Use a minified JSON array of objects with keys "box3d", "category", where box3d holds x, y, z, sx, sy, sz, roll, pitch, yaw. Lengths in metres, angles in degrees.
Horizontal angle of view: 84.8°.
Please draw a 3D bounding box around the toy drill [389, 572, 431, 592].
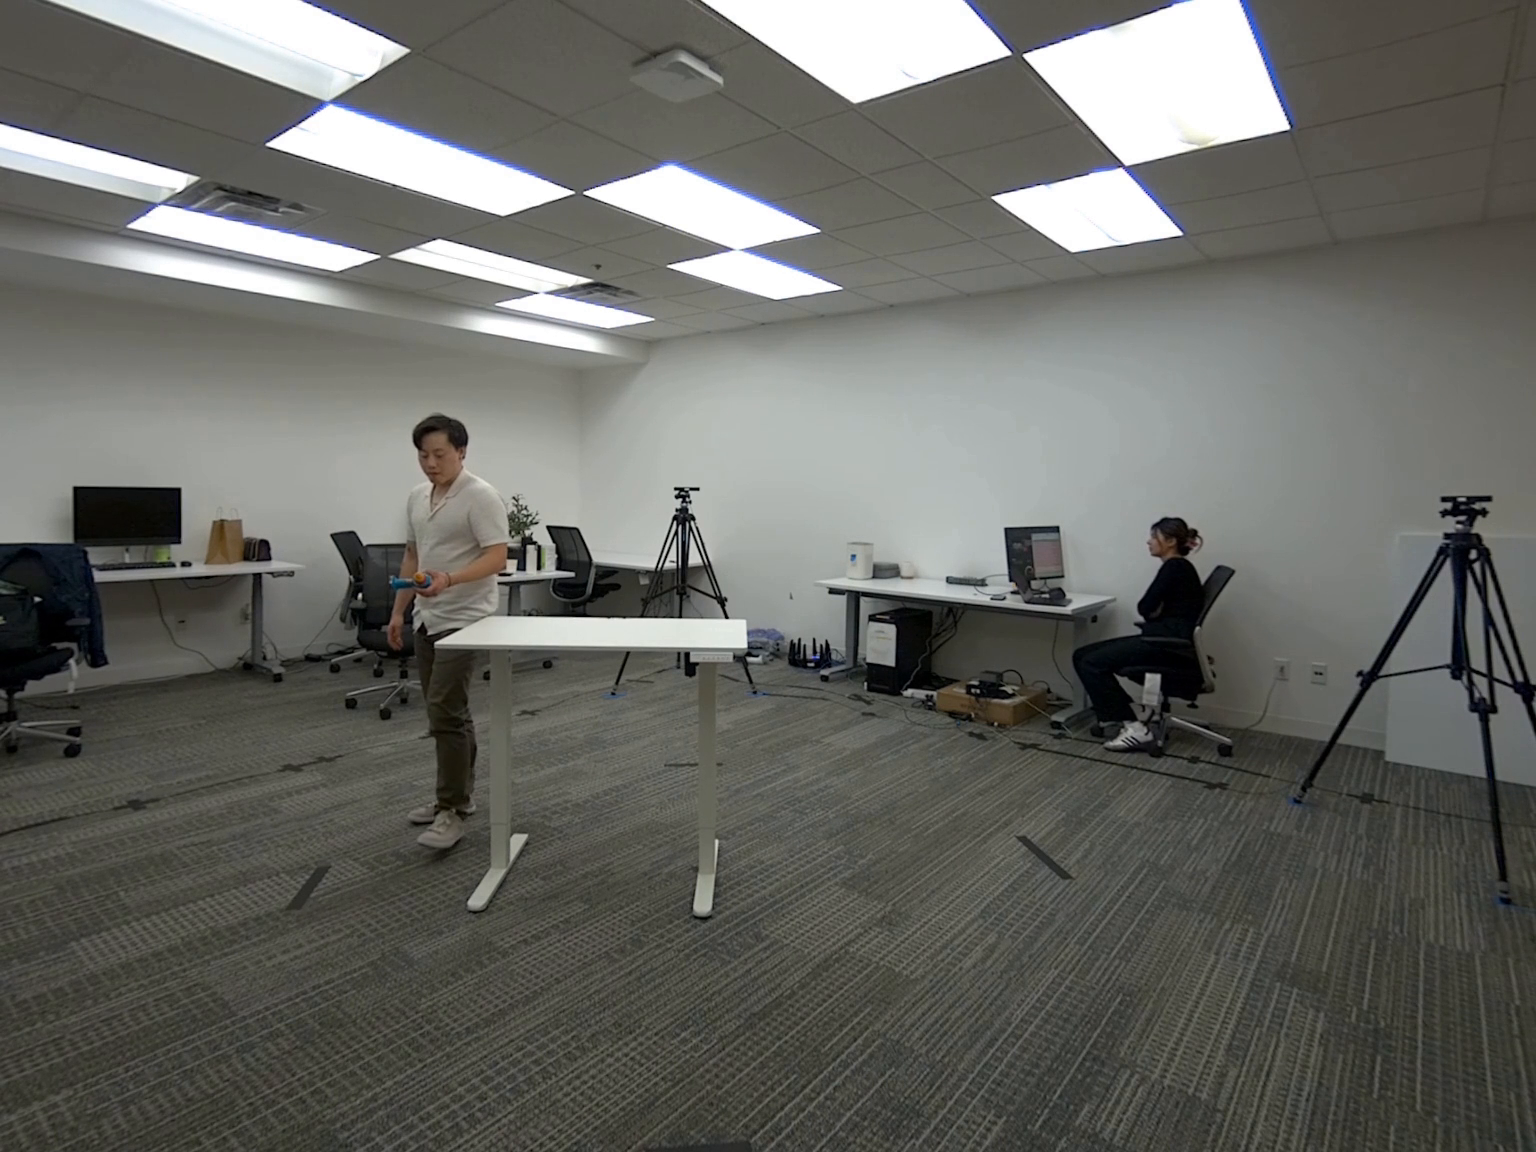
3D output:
[{"box3d":[-1.343,0.018,3.129,0.144,0.062,0.169,-2,-15,-12],"category":"toy drill"}]
